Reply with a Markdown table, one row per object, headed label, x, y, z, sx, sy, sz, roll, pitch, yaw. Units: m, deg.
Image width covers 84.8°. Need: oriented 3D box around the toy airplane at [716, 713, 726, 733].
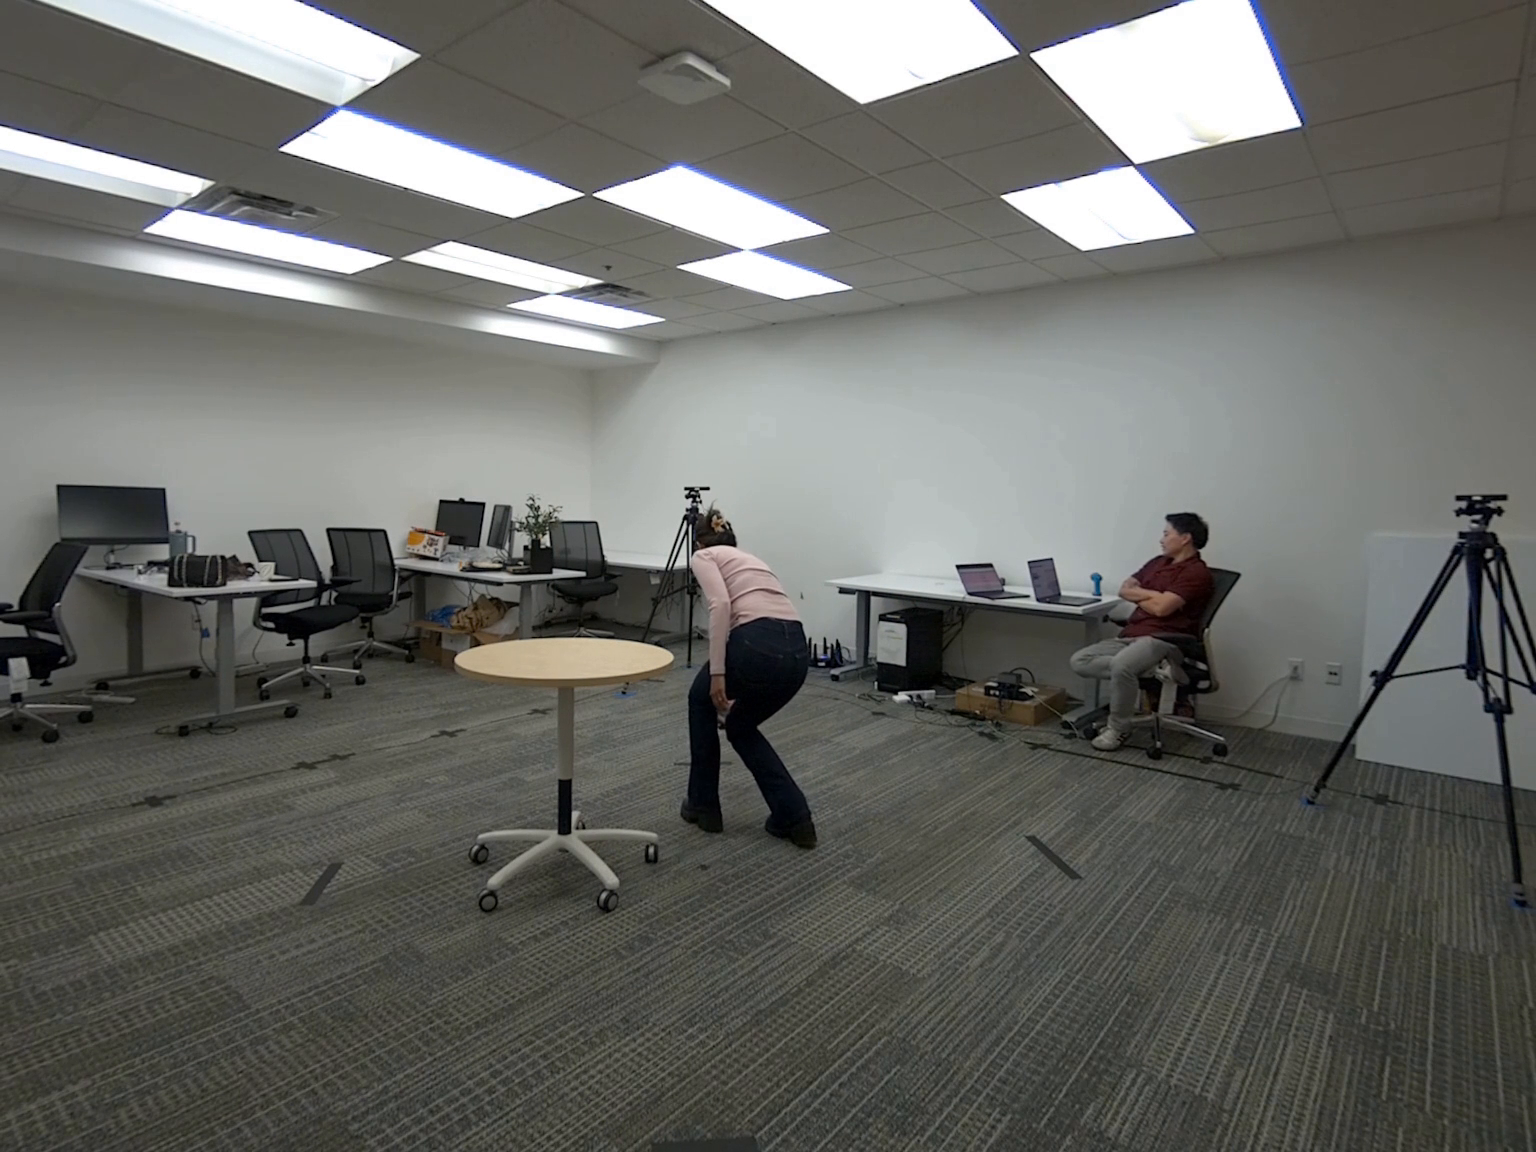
| label | x | y | z | sx | sy | sz | roll | pitch | yaw |
| --- | --- | --- | --- | --- | --- | --- | --- | --- | --- |
| toy airplane | -0.192 | 0.644 | 3.935 | 0.266 | 0.157 | 0.244 | 2 | -2 | 27 |
